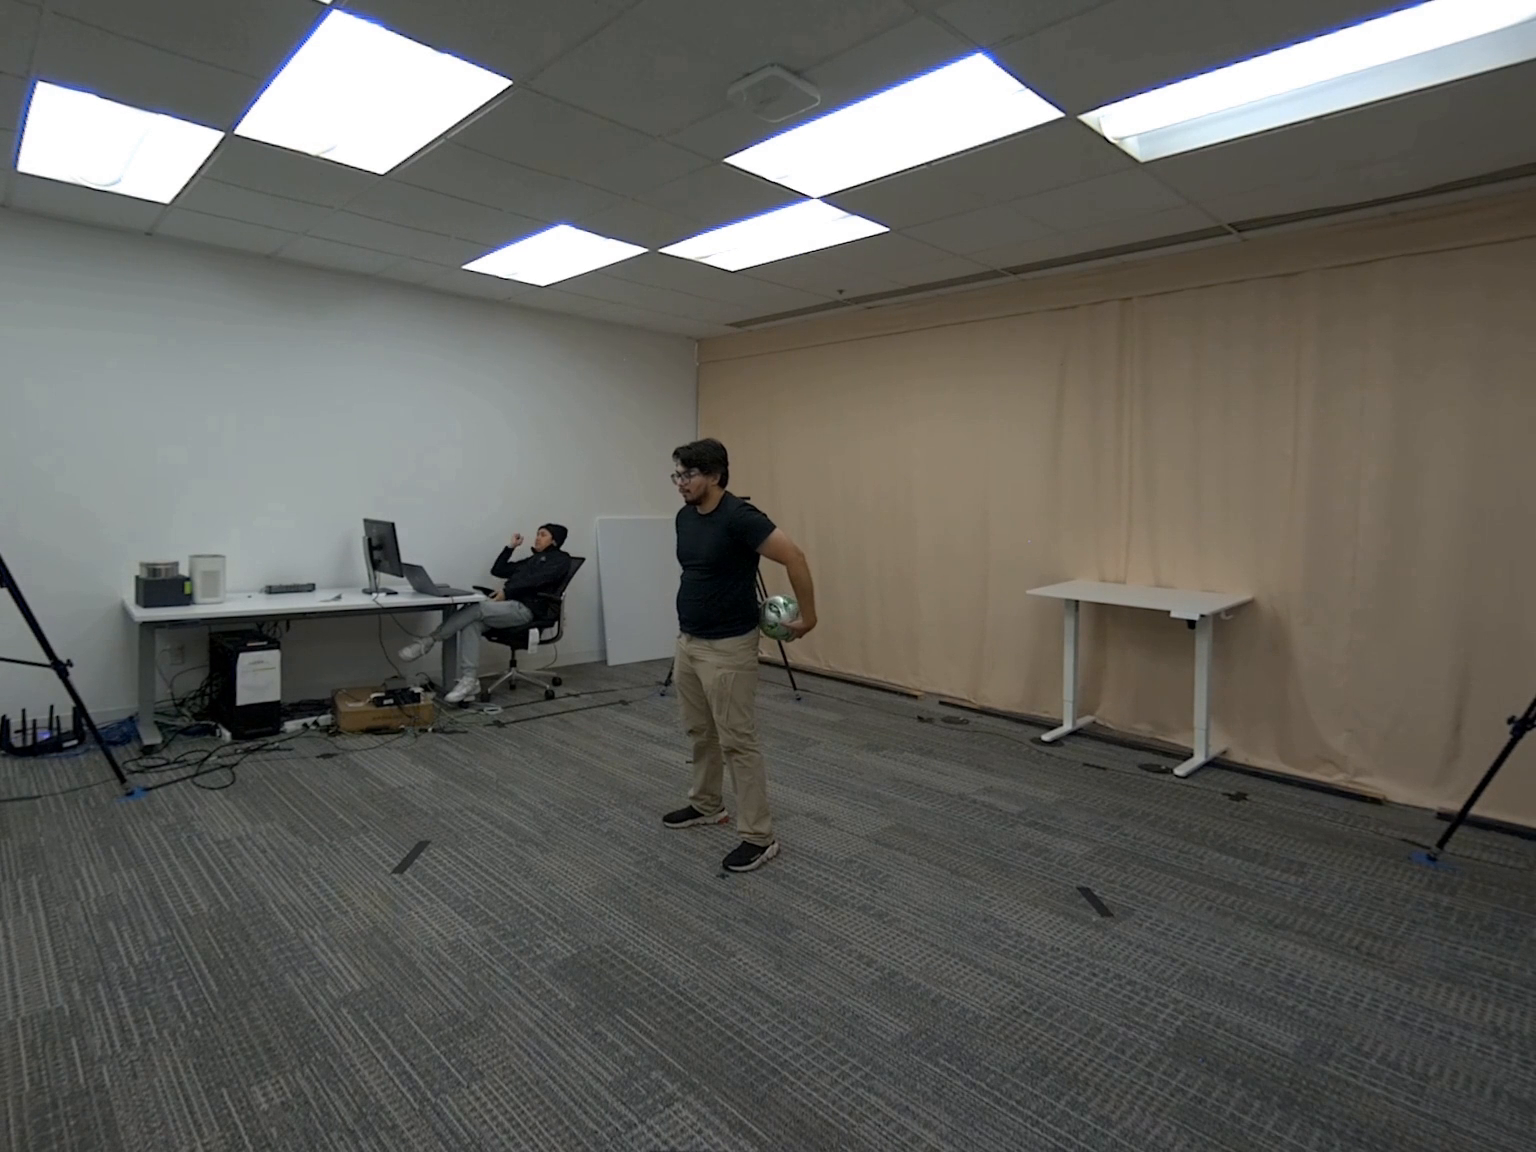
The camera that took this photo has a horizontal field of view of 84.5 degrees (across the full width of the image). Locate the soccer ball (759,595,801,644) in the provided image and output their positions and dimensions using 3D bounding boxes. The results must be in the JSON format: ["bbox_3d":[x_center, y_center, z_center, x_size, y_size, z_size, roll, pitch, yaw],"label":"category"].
[{"bbox_3d":[0.040,0.162,3.362,0.187,0.187,0.188,1,4,-1],"label":"soccer ball"}]
